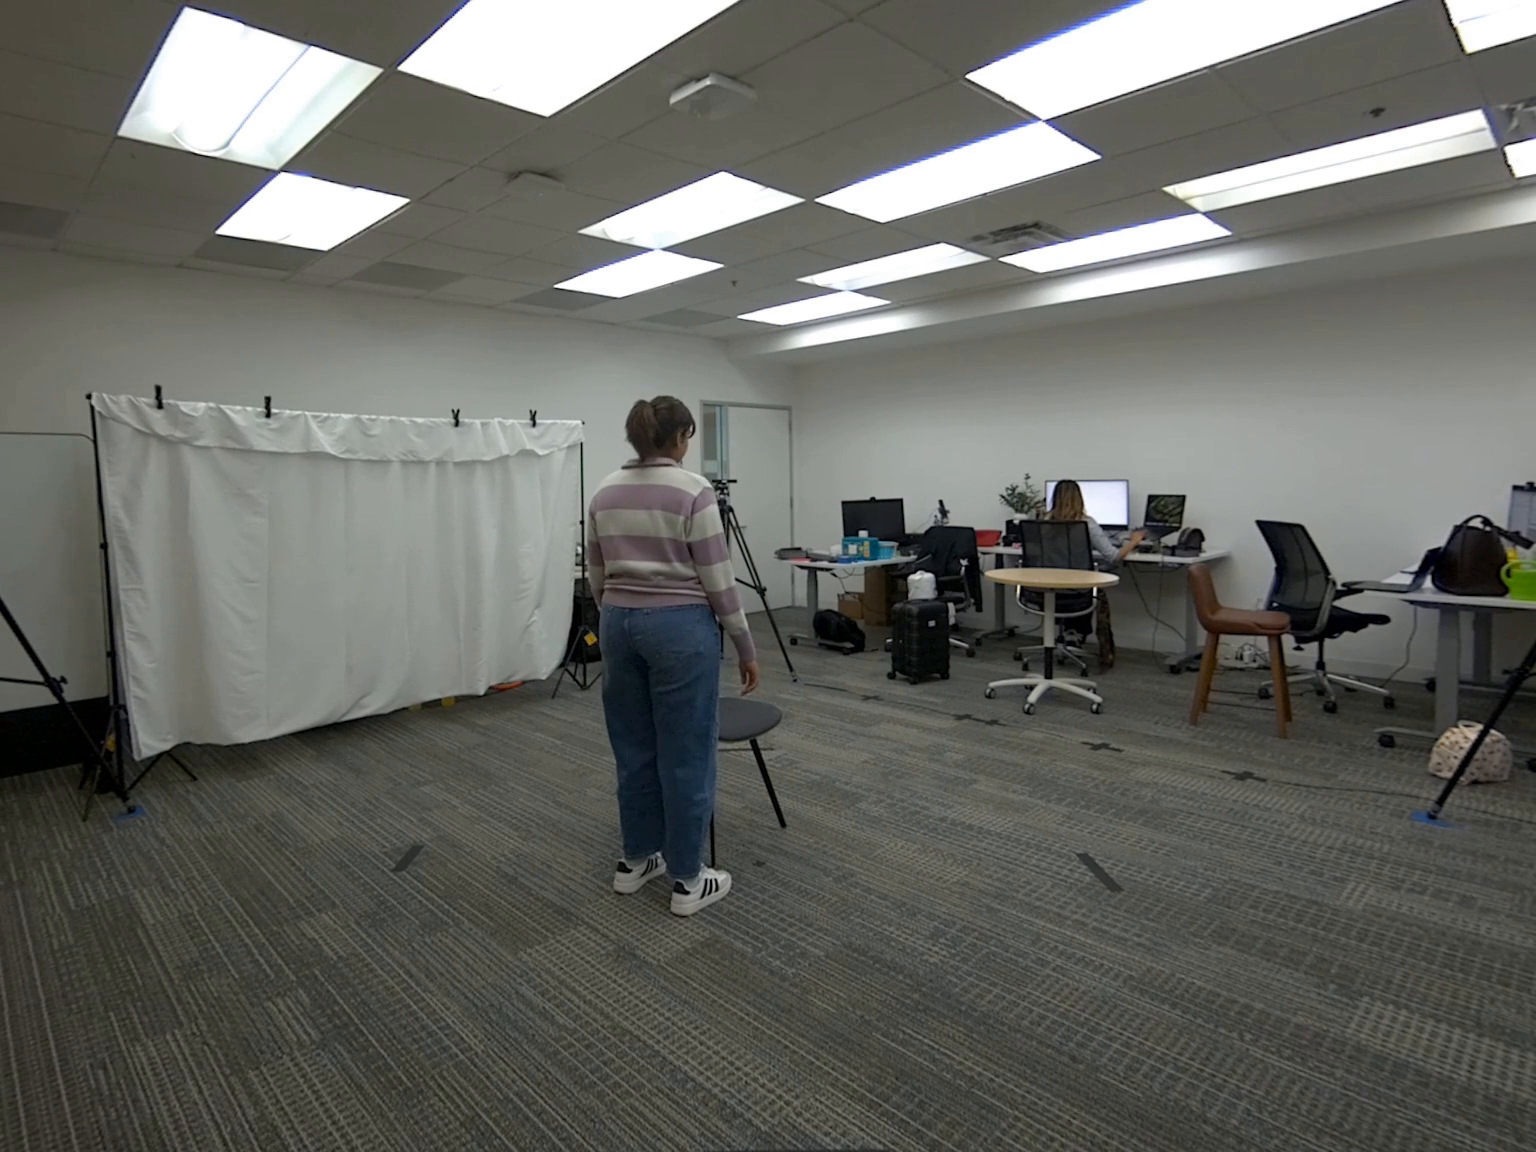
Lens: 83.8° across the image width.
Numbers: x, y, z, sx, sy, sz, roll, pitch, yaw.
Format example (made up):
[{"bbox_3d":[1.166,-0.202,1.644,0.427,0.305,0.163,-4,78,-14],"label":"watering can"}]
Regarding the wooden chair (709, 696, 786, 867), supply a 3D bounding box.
[{"bbox_3d":[-0.236,0.594,3.369,0.537,0.877,0.466,-3,1,39],"label":"wooden chair"}]
